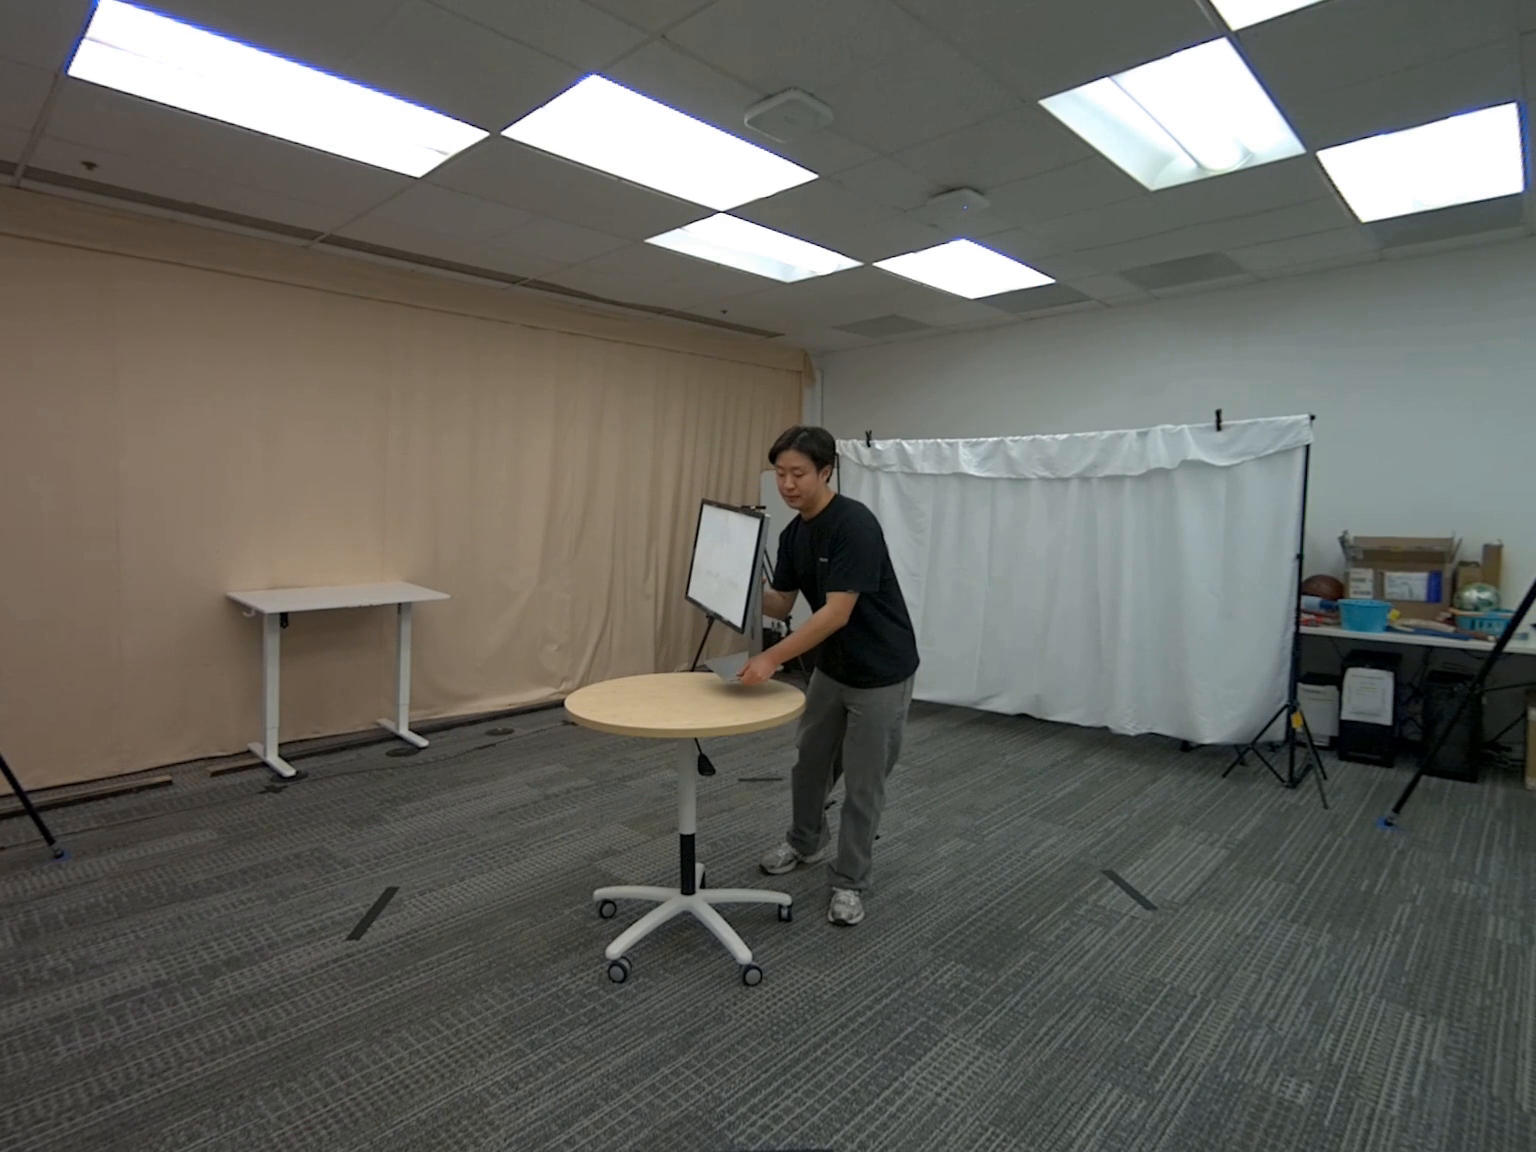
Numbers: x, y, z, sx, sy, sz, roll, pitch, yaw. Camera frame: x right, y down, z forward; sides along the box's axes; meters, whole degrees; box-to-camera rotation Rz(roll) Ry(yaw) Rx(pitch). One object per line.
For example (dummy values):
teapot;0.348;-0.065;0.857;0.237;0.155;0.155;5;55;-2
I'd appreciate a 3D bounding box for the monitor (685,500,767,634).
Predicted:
monitor;-0.102;0.051;2.756;0.218;0.562;0.575;-8;11;-19
